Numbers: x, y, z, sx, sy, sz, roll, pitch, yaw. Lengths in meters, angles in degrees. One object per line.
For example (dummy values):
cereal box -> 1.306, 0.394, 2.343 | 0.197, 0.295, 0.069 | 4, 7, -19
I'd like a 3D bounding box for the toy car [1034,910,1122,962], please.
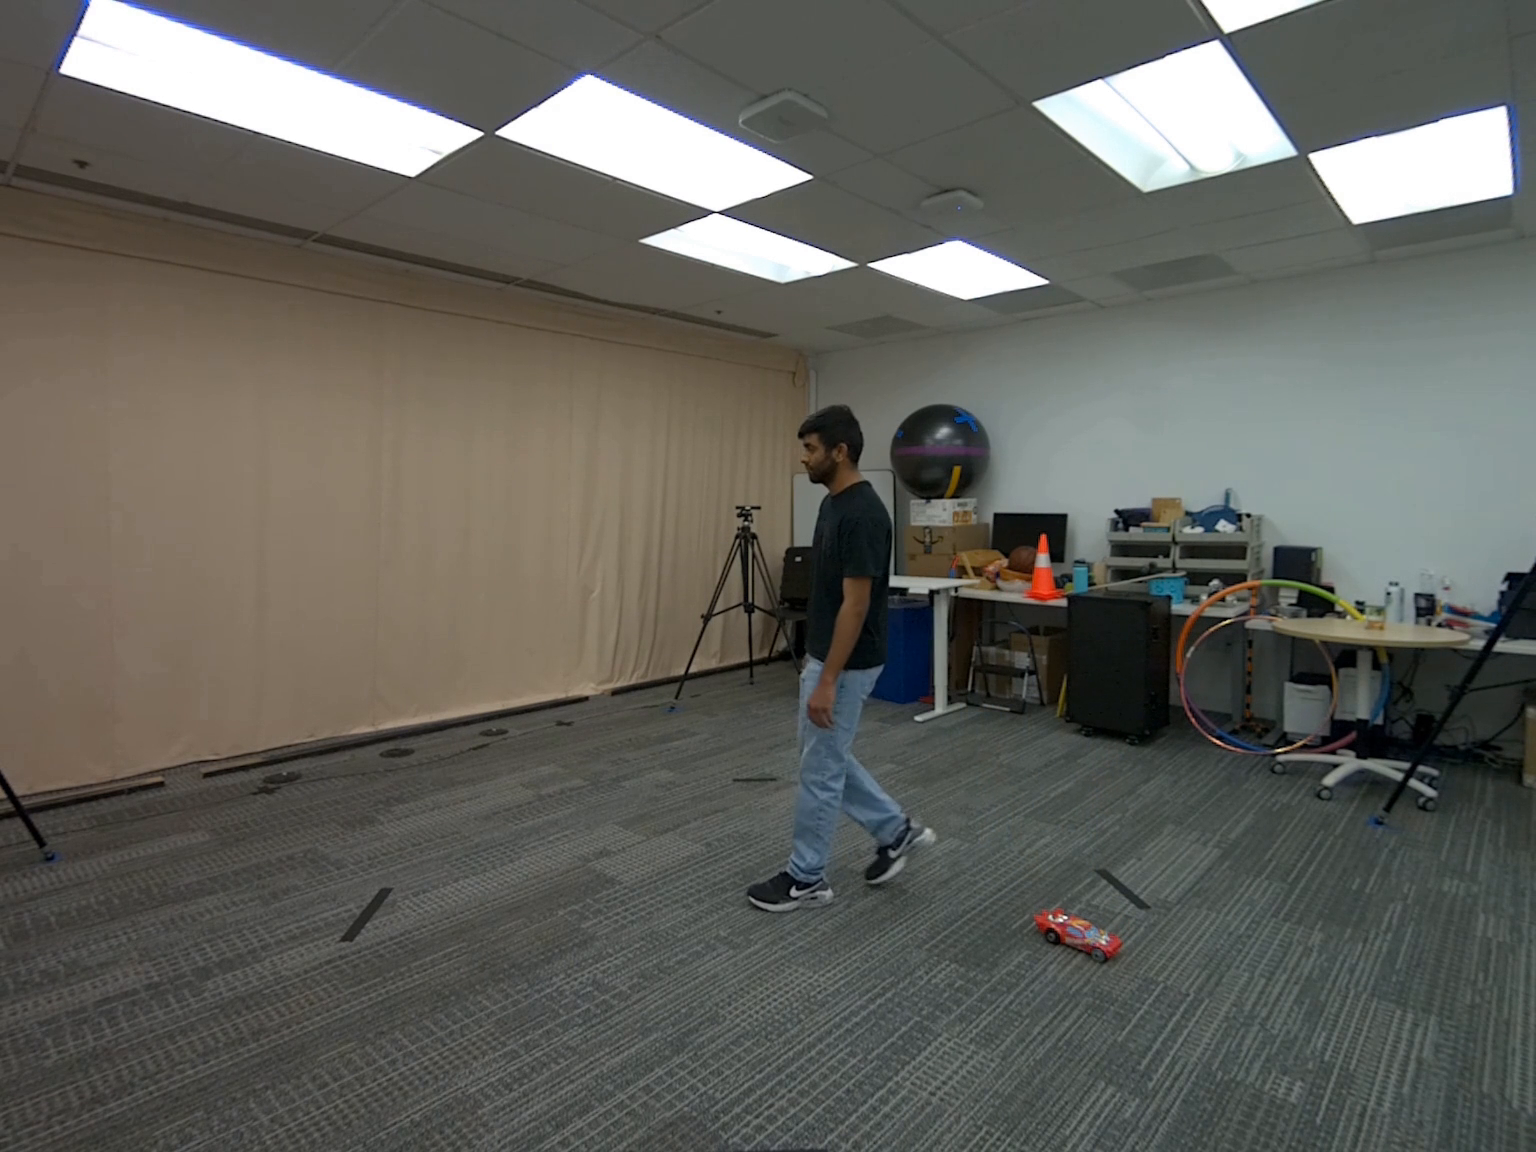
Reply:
toy car -> 0.986, 1.140, 2.664 | 0.126, 0.083, 0.264 | -5, 17, -44
